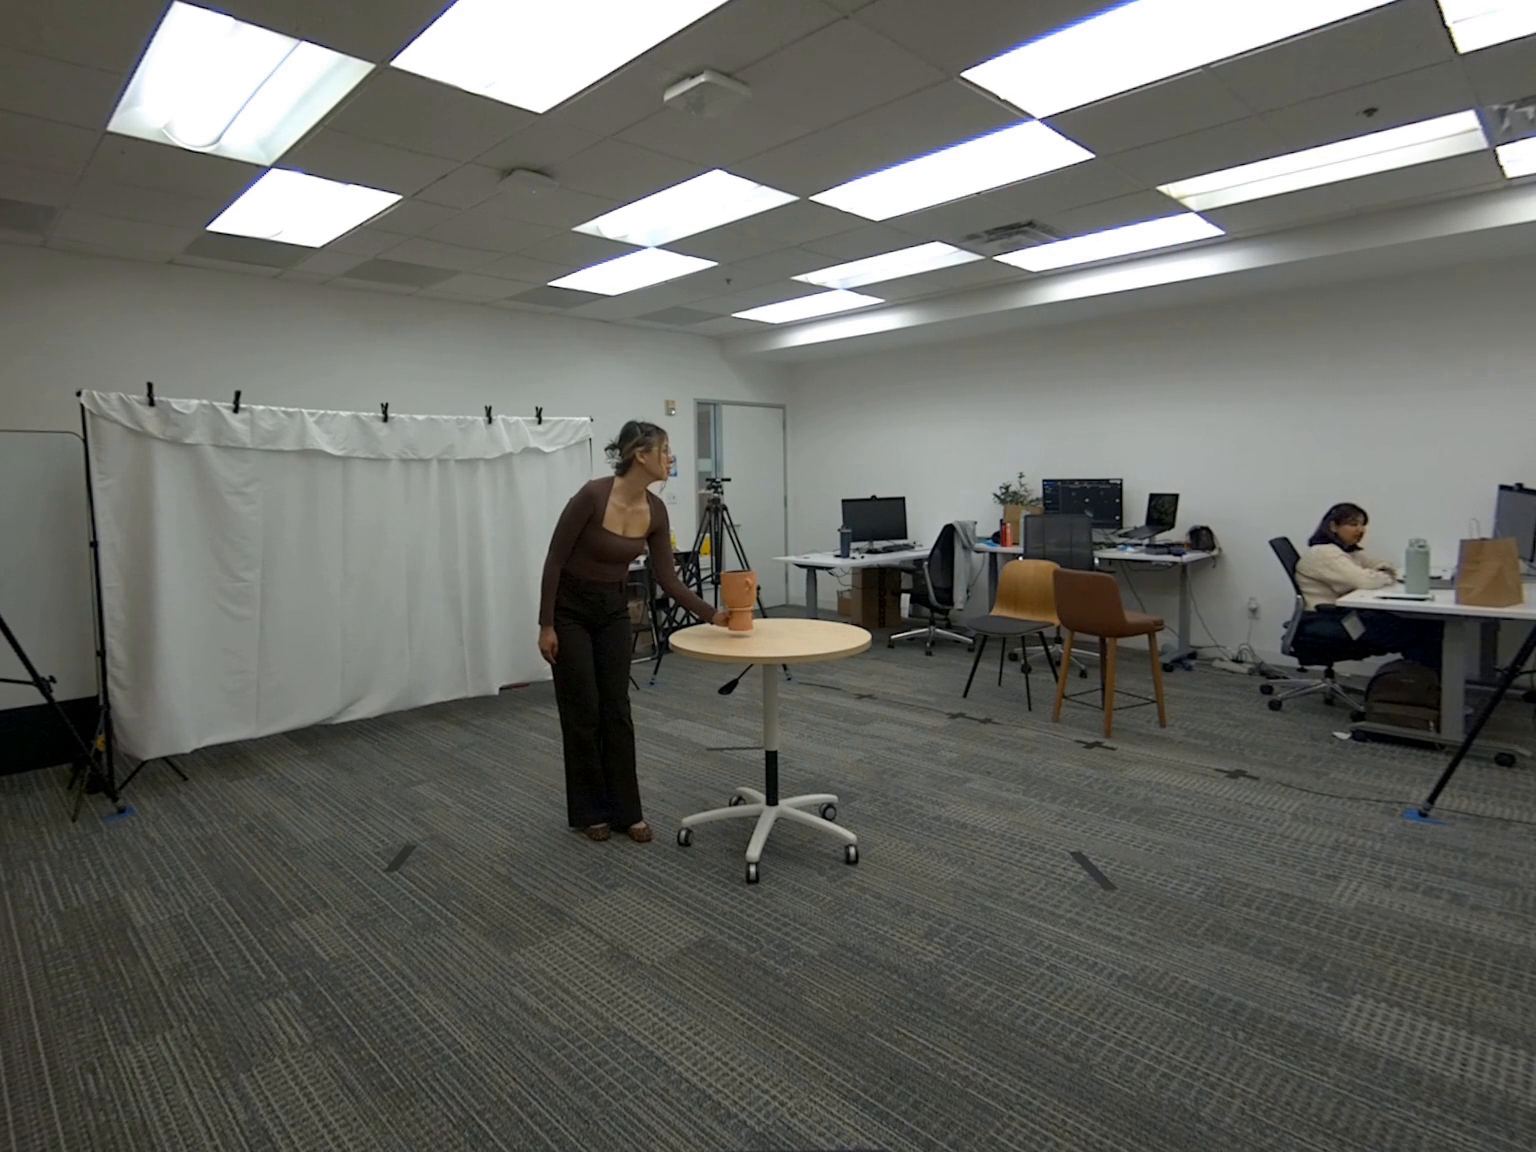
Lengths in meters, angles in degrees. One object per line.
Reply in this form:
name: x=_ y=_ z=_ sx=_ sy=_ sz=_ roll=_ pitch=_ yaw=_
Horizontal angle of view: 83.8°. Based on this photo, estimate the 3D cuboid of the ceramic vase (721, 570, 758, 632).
ceramic vase: x=-0.109 y=0.088 z=3.240 sx=0.136 sy=0.219 sz=0.157 roll=-2 pitch=3 yaw=11
